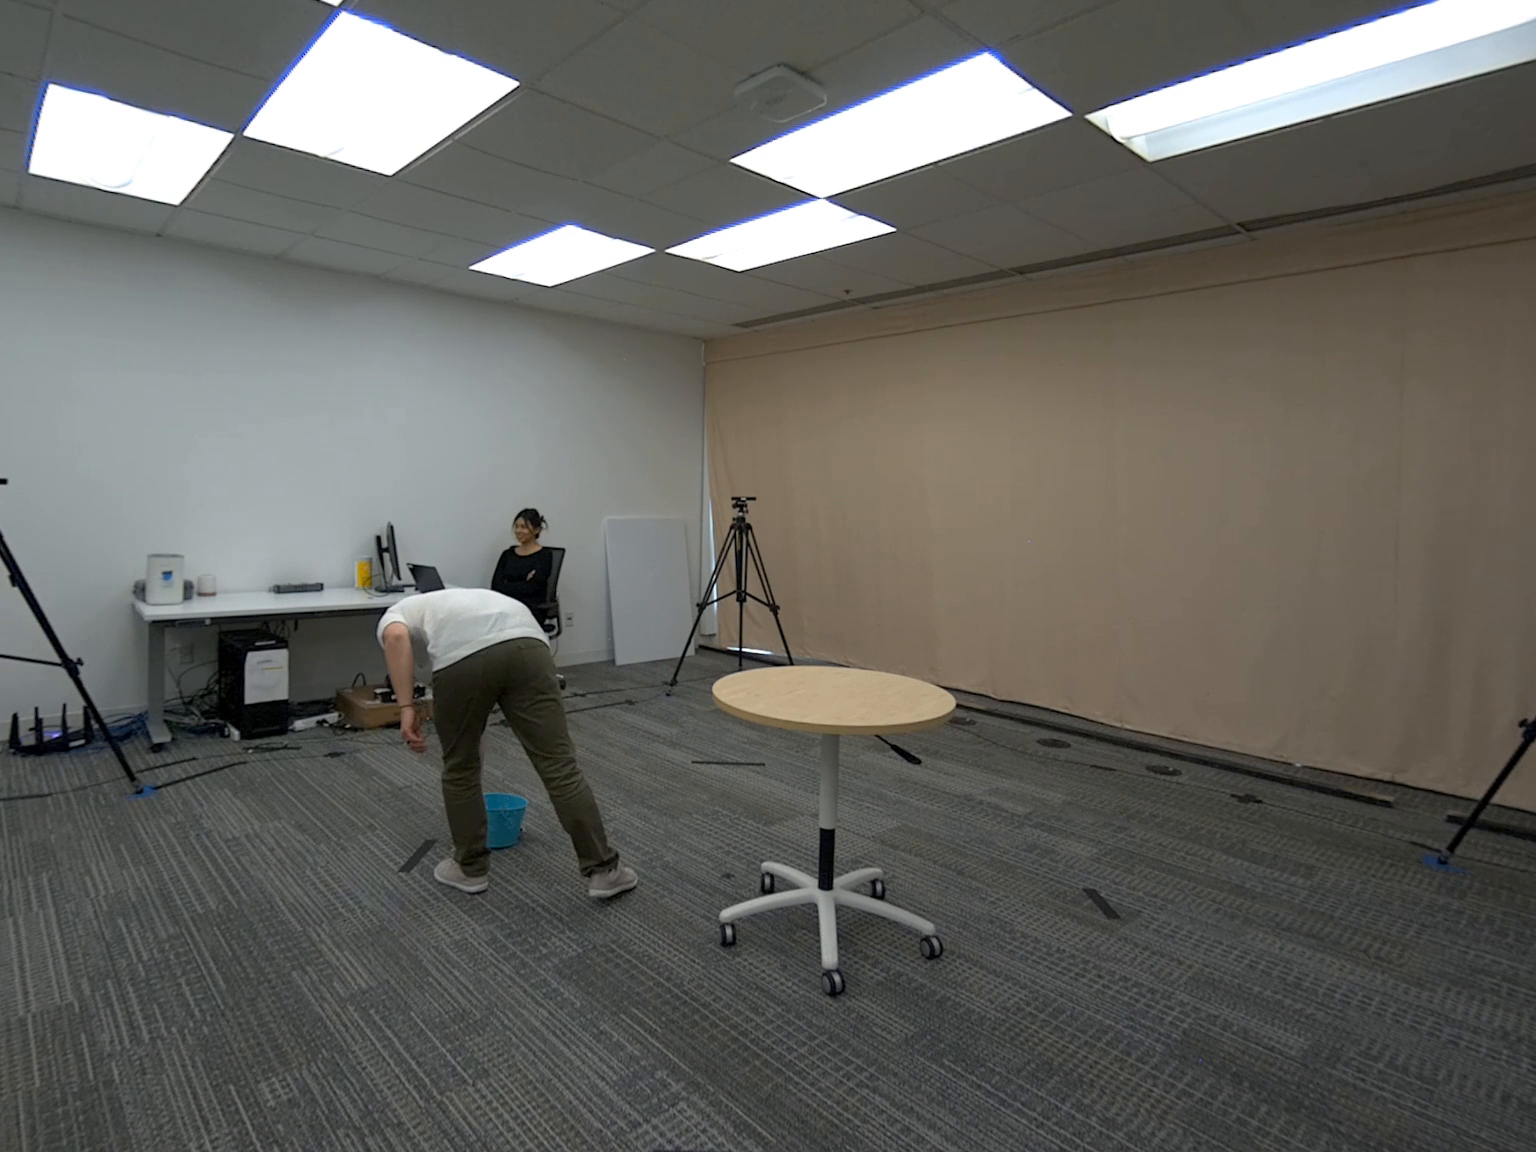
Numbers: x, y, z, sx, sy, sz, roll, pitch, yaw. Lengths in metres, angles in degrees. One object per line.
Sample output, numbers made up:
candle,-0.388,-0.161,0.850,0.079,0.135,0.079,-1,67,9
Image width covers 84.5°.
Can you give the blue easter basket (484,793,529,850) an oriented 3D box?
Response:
blue easter basket,-1.088,0.969,3.364,0.243,0.156,0.243,7,0,-1
